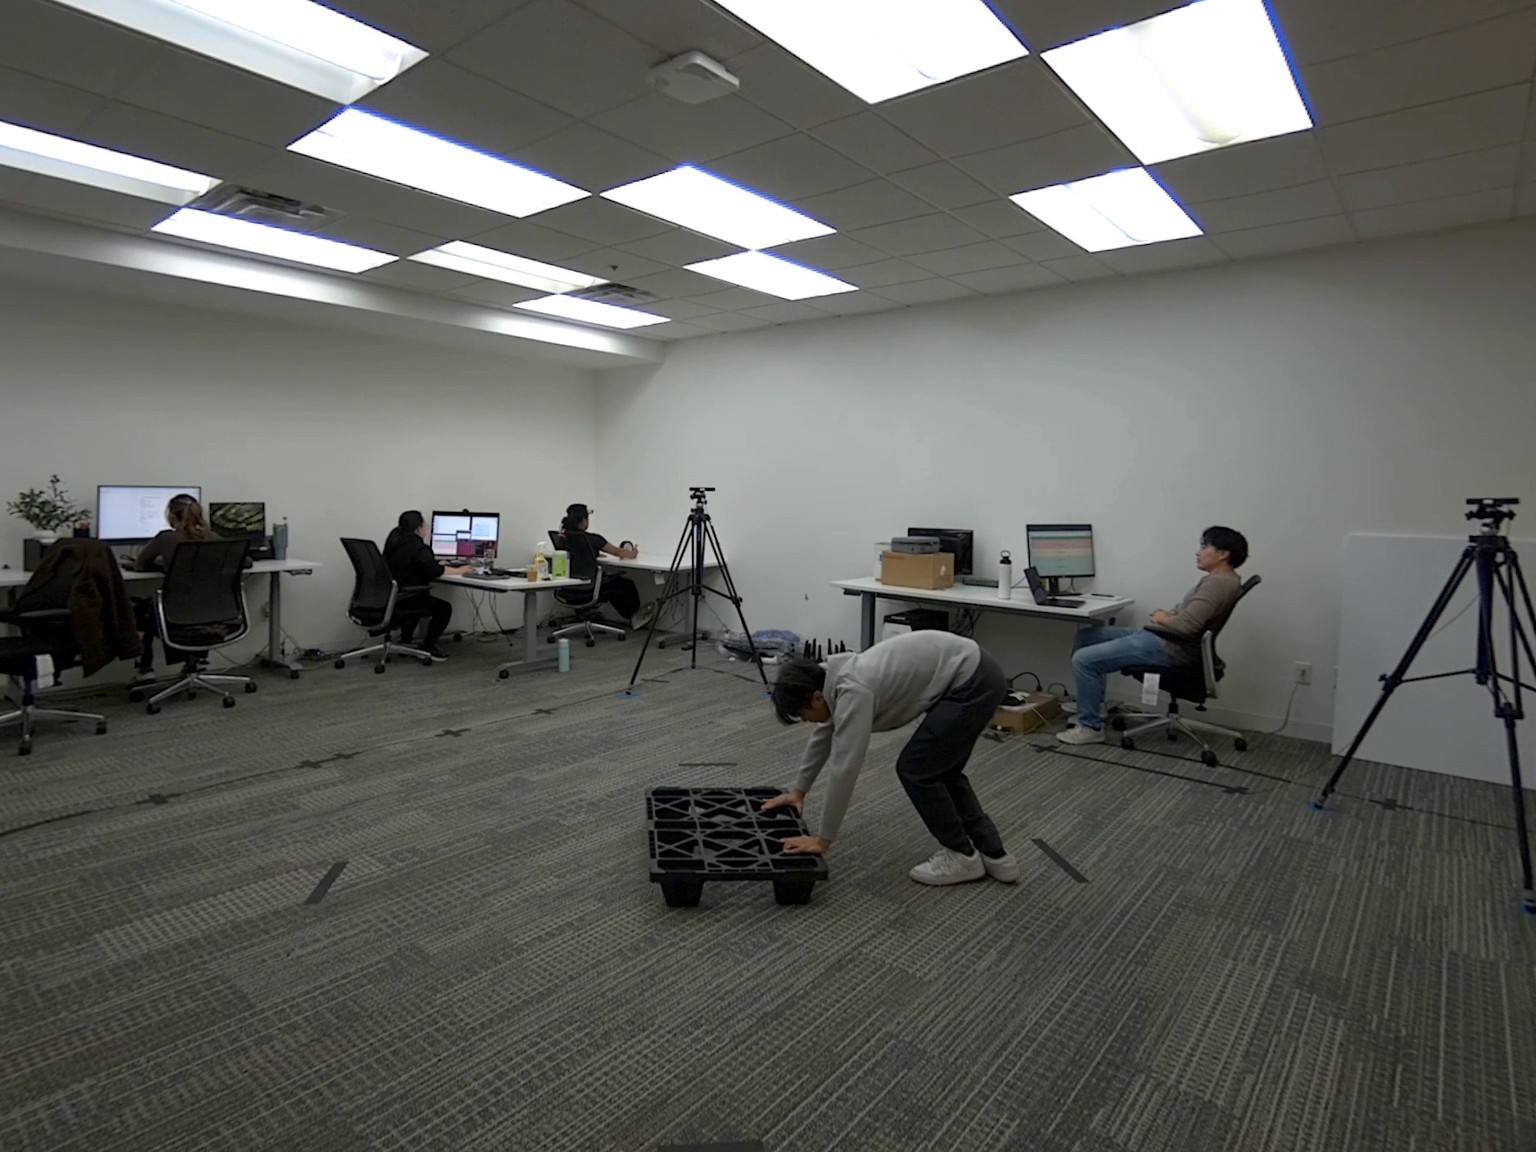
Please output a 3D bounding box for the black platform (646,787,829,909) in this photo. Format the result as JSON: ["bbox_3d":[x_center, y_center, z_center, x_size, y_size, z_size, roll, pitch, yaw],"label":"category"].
[{"bbox_3d":[-0.166,0.987,3.187,0.600,0.143,0.815,0,5,-9],"label":"black platform"}]
